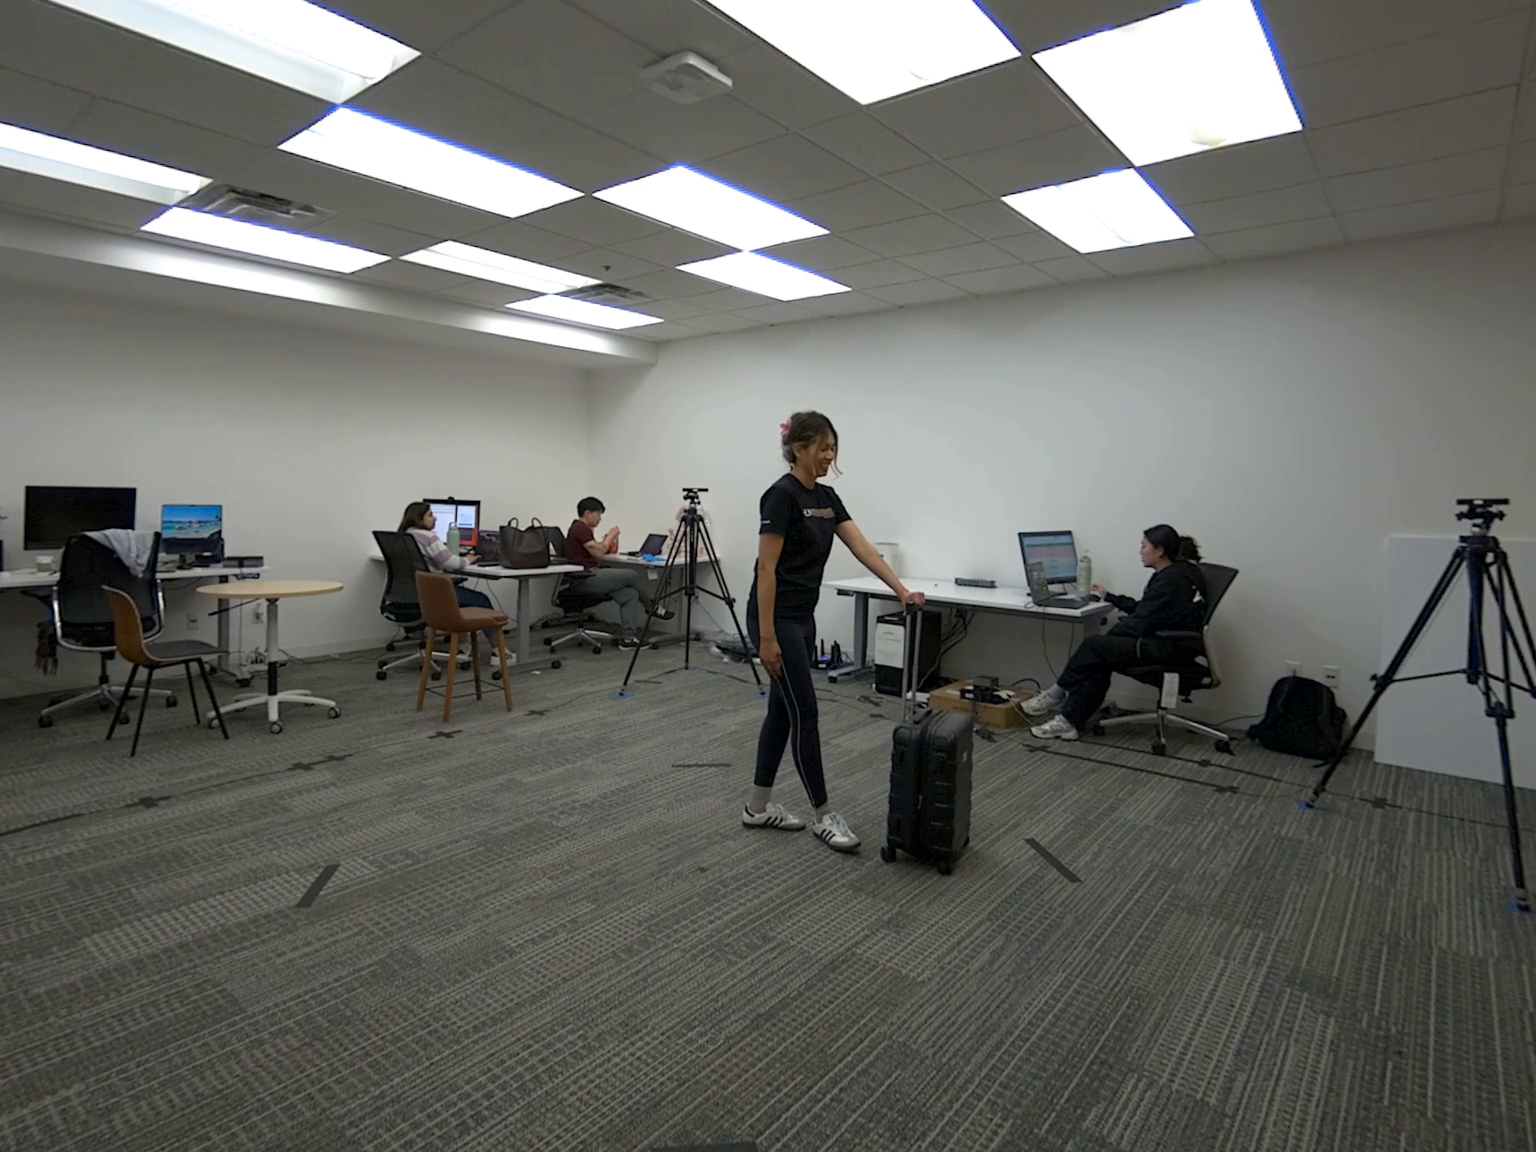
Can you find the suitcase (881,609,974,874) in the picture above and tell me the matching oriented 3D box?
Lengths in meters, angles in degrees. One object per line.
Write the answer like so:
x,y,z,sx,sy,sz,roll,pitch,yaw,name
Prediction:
0.638,0.596,3.251,0.263,0.974,0.376,5,5,22,suitcase
